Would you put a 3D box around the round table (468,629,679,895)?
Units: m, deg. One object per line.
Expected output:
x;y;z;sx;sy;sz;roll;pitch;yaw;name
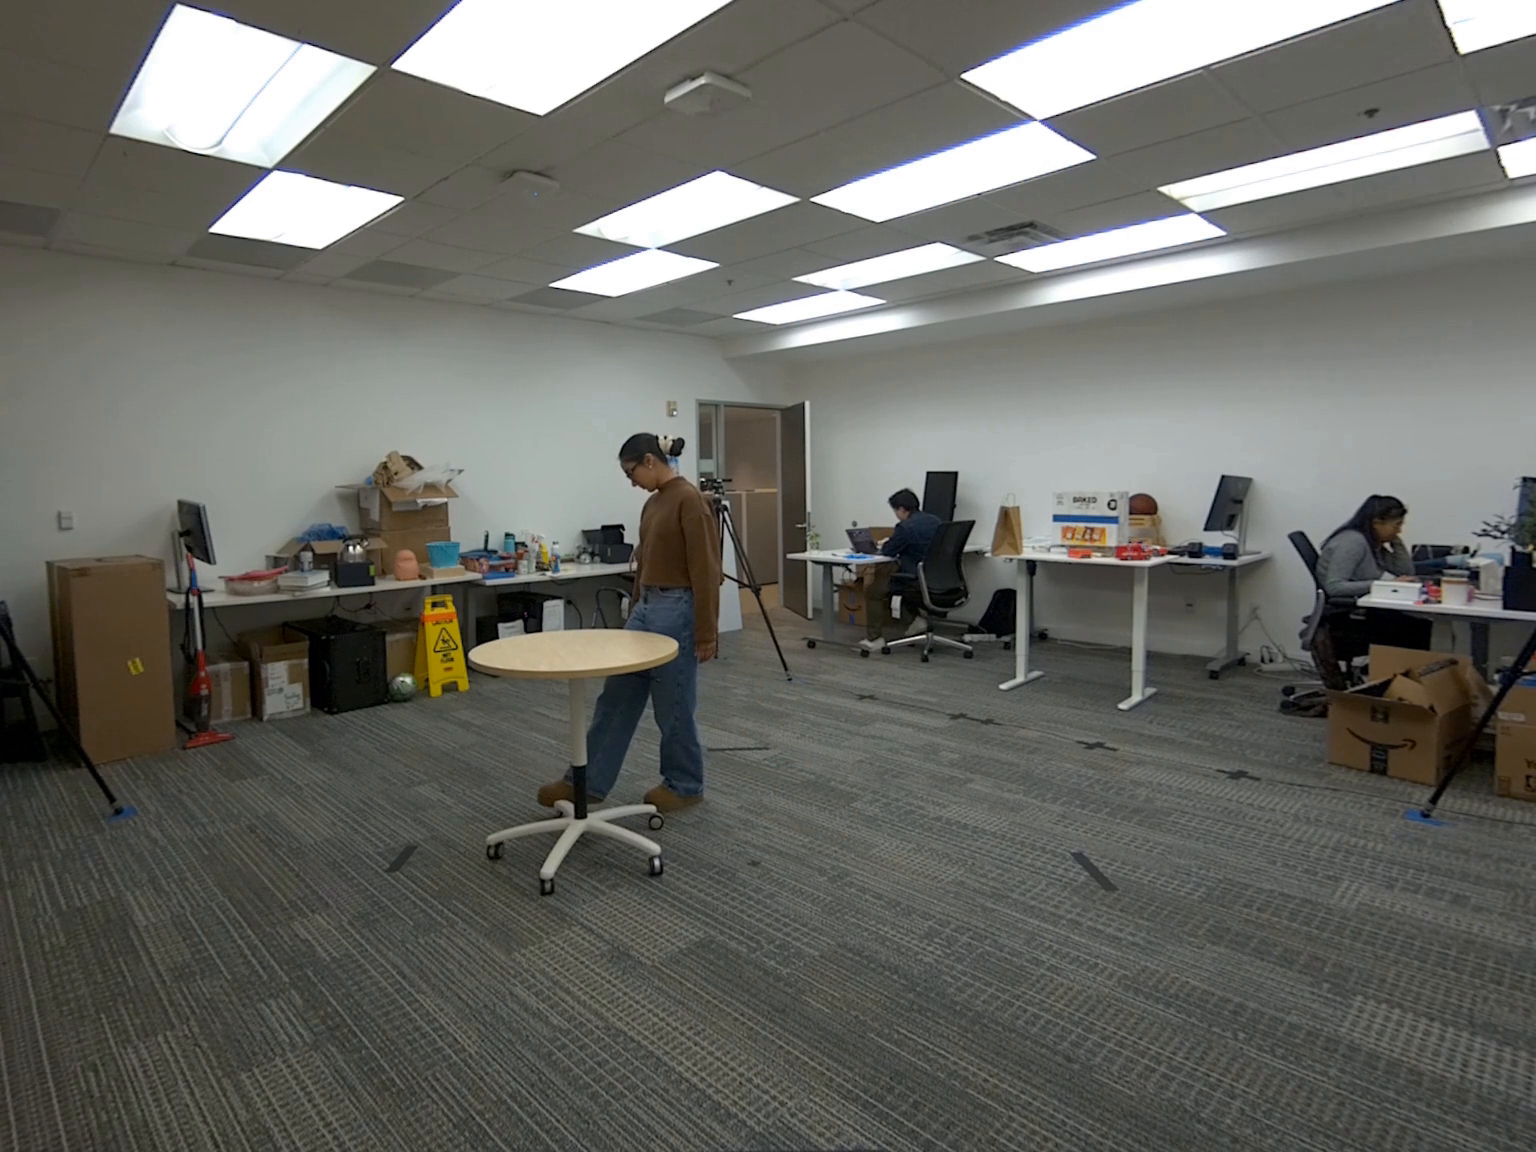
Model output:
-0.703;0.659;3.188;0.763;0.791;0.768;-1;5;-2;round table
